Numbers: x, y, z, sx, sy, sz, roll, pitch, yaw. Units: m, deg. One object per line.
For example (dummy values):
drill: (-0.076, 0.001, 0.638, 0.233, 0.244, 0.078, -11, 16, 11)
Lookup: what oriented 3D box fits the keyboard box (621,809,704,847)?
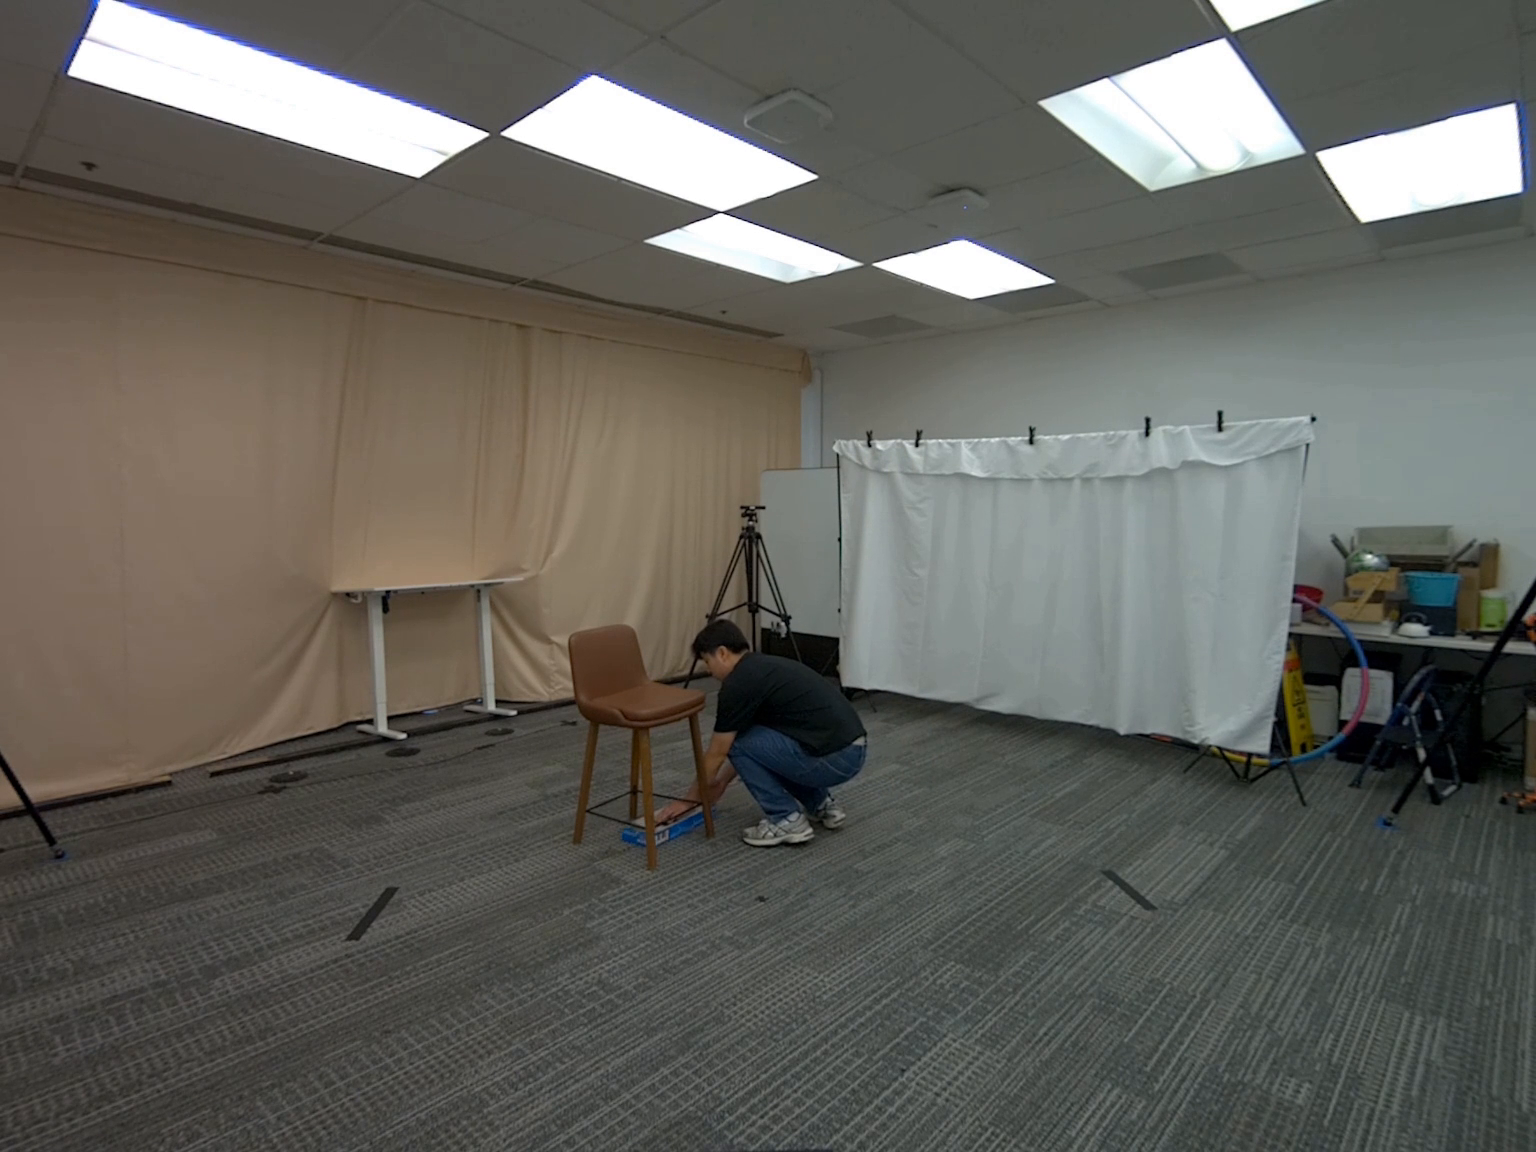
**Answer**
keyboard box: (-0.420, 1.074, 3.655, 0.181, 0.059, 0.425, 1, 6, 34)
